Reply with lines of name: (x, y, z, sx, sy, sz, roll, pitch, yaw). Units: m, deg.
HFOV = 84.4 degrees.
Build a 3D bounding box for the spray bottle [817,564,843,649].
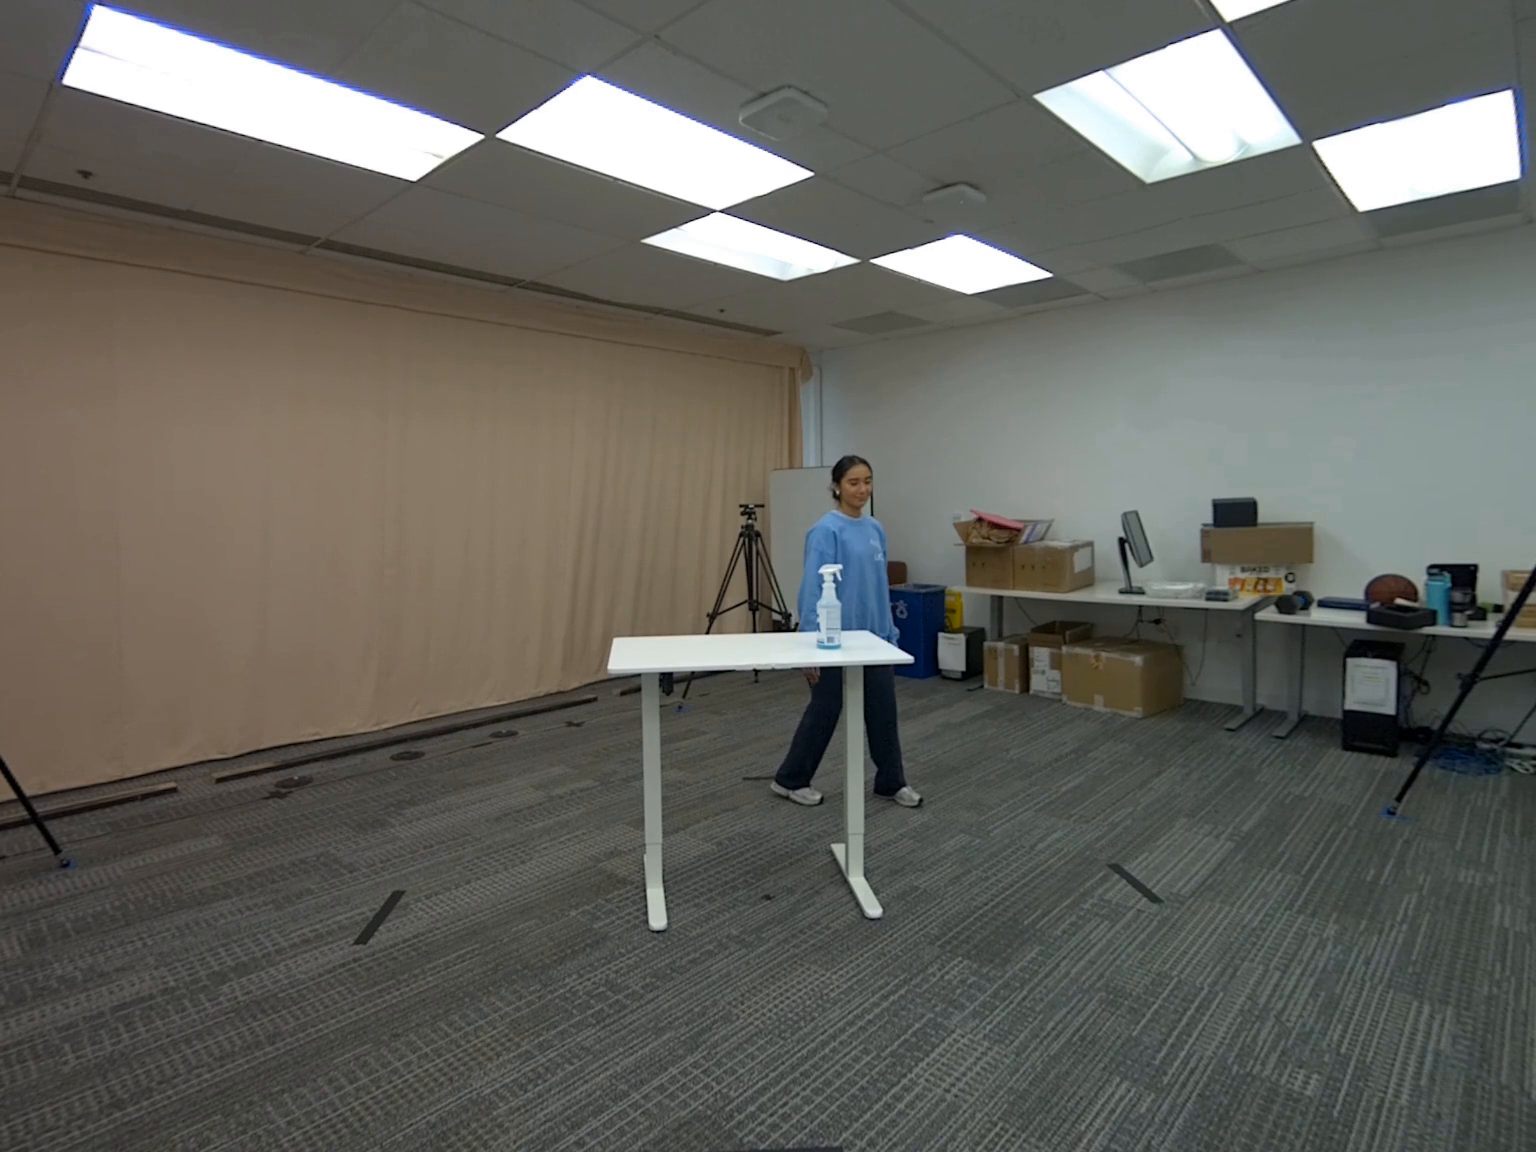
spray bottle: (0.226, 0.109, 2.978, 0.085, 0.296, 0.093, 0, 5, -28)
